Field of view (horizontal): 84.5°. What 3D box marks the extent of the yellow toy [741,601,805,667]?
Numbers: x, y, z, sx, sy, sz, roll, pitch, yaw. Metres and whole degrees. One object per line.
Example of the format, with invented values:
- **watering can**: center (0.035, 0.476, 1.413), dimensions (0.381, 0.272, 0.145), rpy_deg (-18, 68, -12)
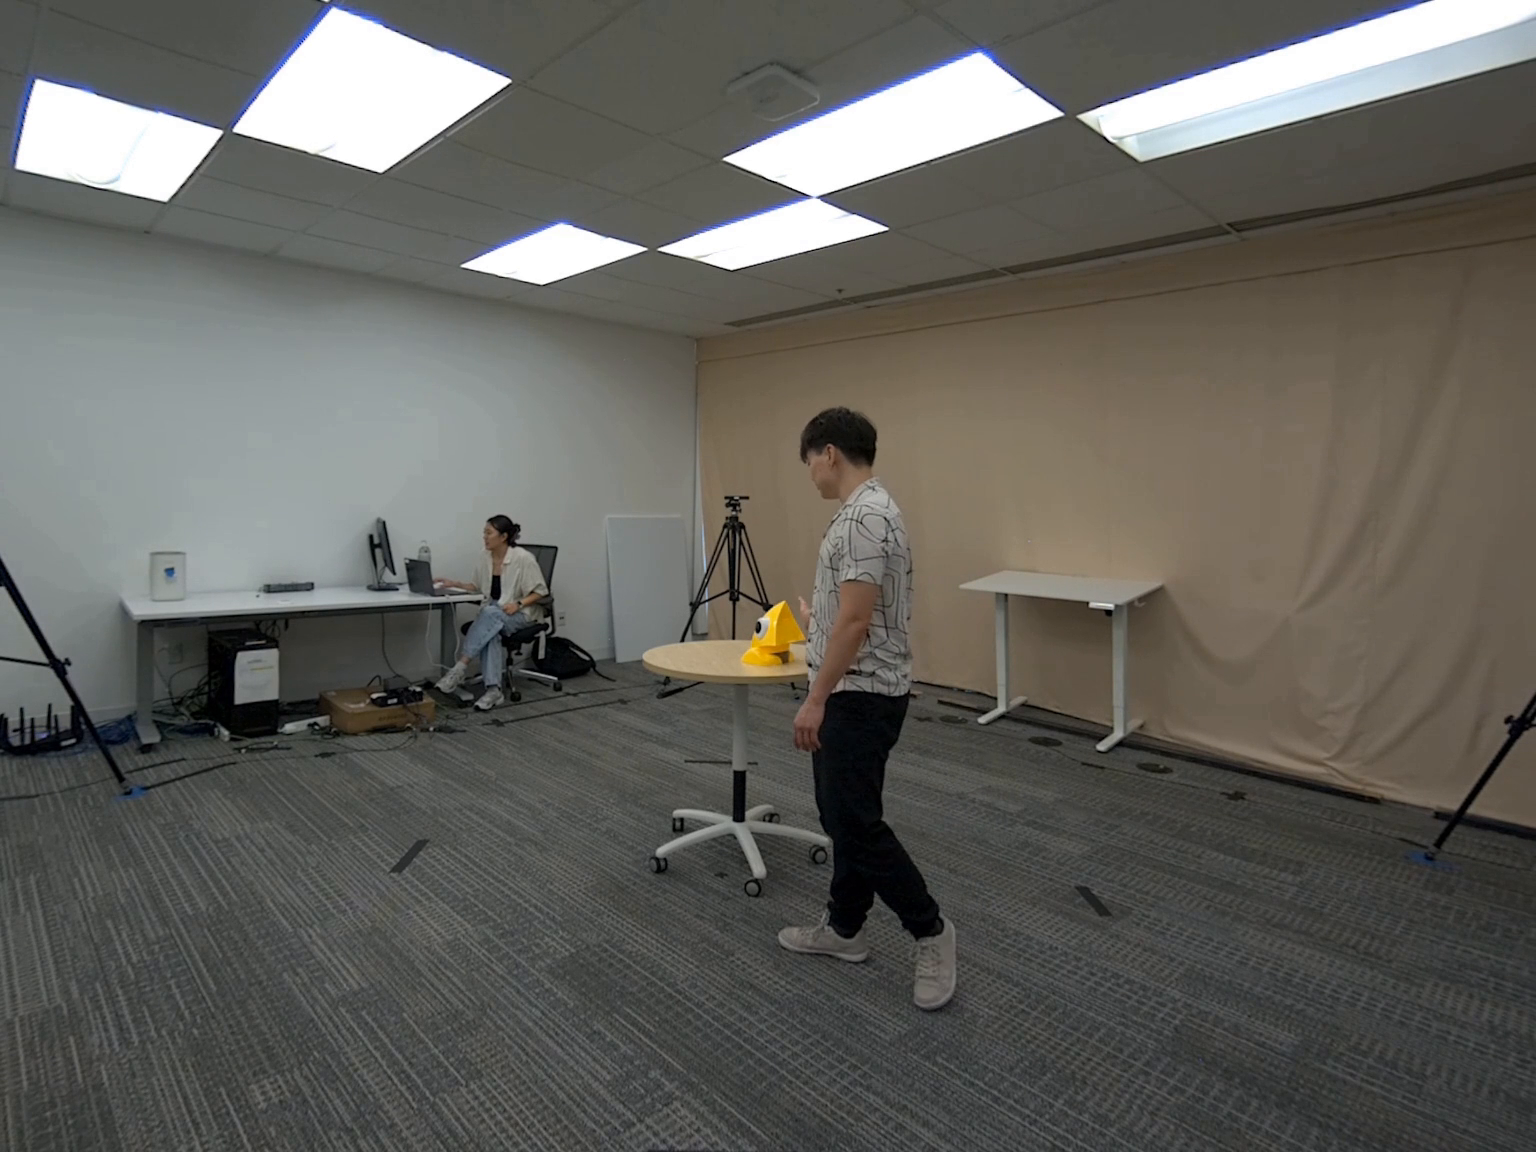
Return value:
- **yellow toy**: center (0.003, 0.203, 3.147), dimensions (0.198, 0.230, 0.200), rpy_deg (4, 4, 36)
